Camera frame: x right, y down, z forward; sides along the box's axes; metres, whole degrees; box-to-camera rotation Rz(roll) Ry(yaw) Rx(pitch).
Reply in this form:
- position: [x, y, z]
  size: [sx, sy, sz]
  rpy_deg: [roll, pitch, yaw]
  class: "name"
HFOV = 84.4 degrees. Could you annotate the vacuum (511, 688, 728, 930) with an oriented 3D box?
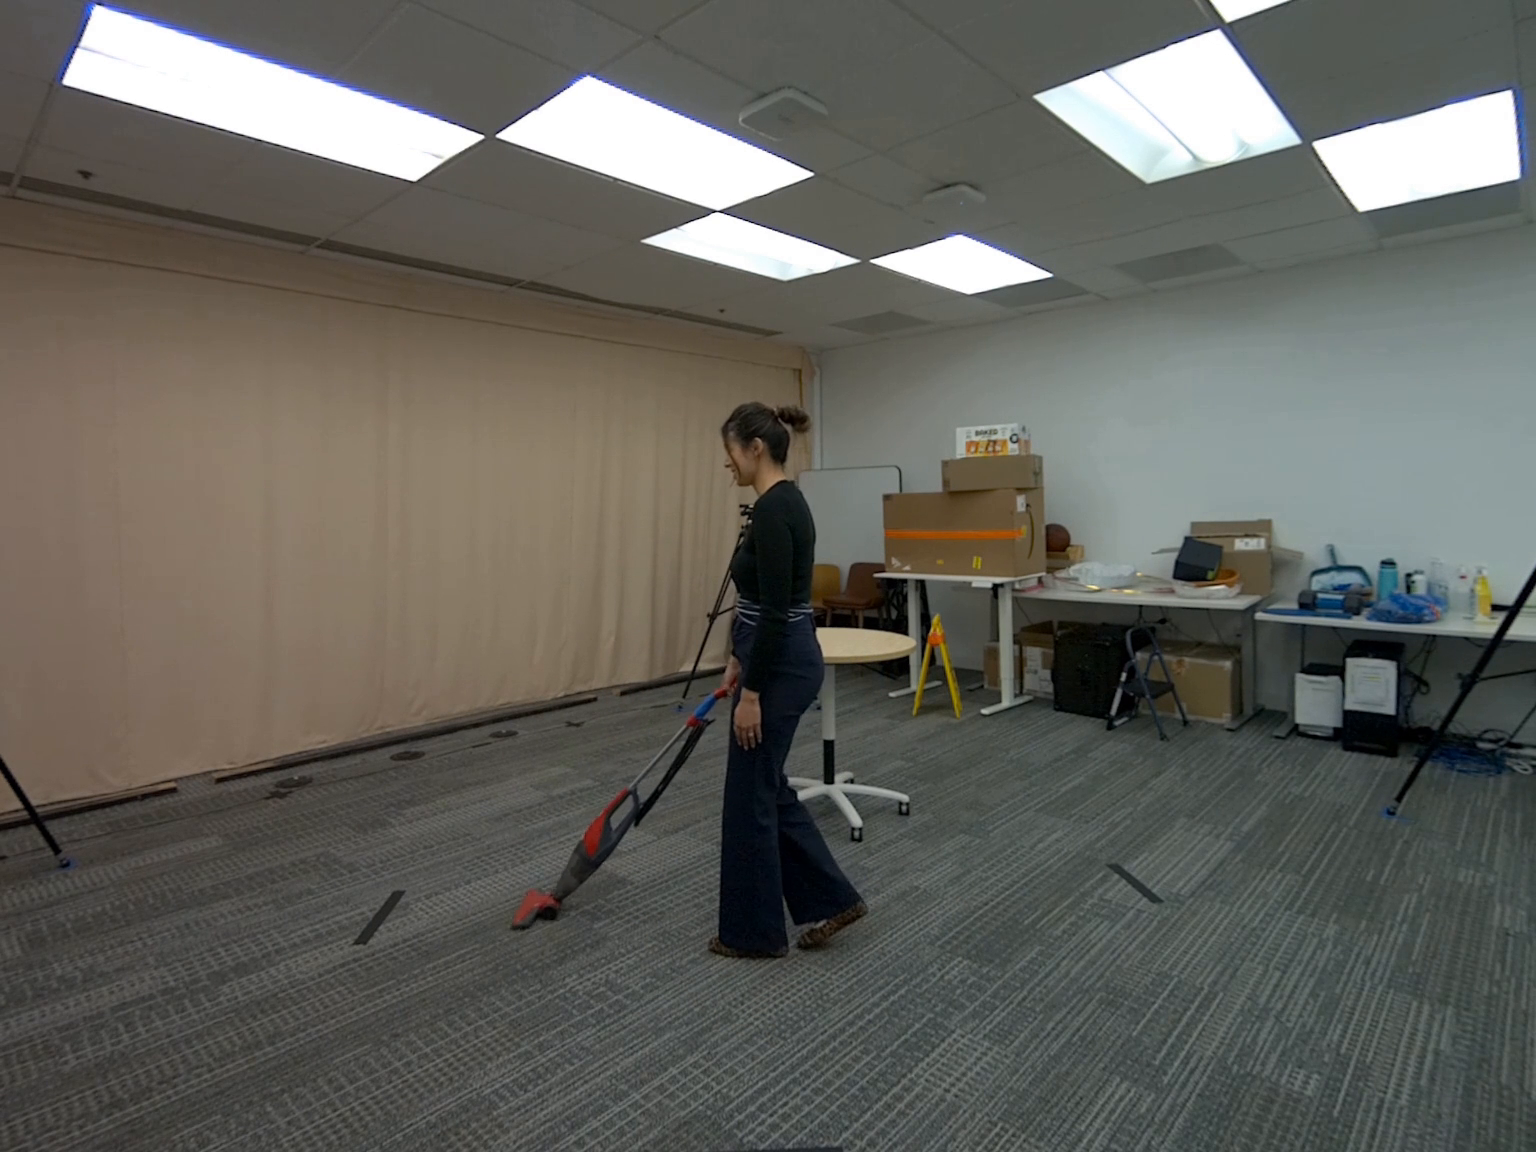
- position: [-0.439, 0.762, 2.894]
  size: [0.144, 1.050, 0.252]
  rpy_deg: [42, 2, -1]
  class: "vacuum"
